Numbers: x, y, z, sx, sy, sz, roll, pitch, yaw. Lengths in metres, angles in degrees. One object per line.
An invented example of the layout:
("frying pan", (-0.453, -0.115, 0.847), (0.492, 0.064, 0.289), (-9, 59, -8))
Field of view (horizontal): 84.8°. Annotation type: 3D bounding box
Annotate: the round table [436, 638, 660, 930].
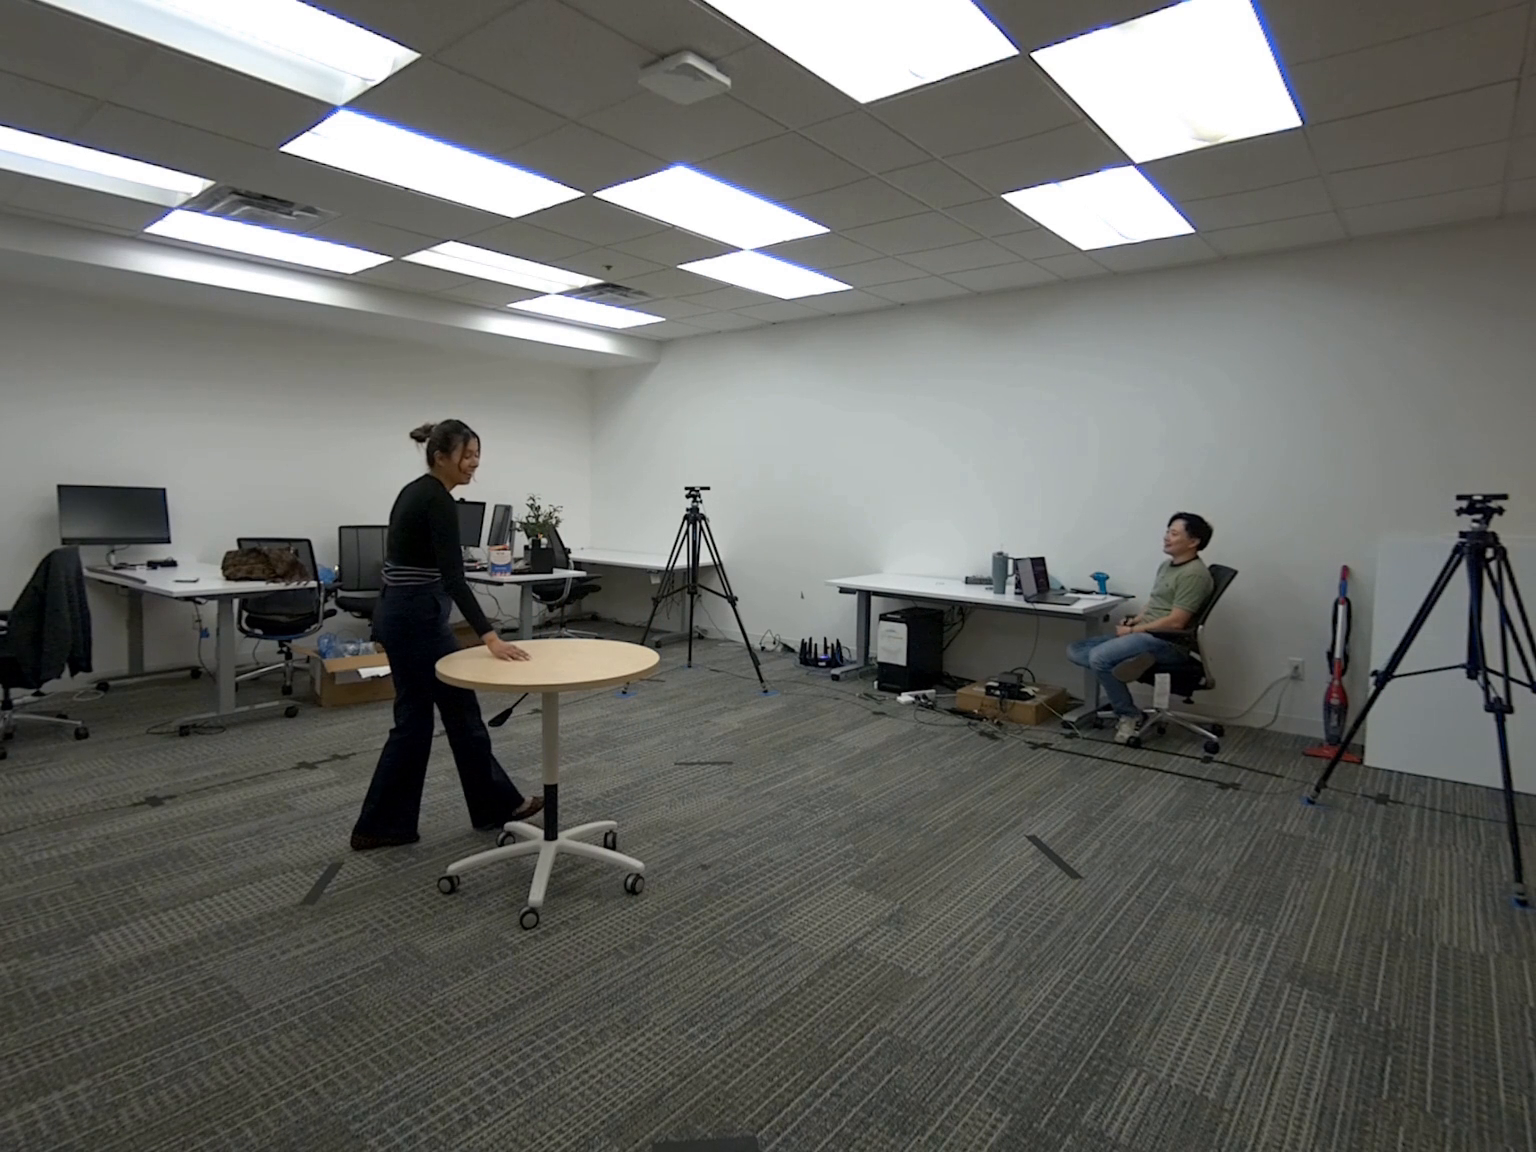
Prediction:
("round table", (-0.776, 0.679, 2.999), (0.763, 0.791, 0.768), (0, 4, -2))
